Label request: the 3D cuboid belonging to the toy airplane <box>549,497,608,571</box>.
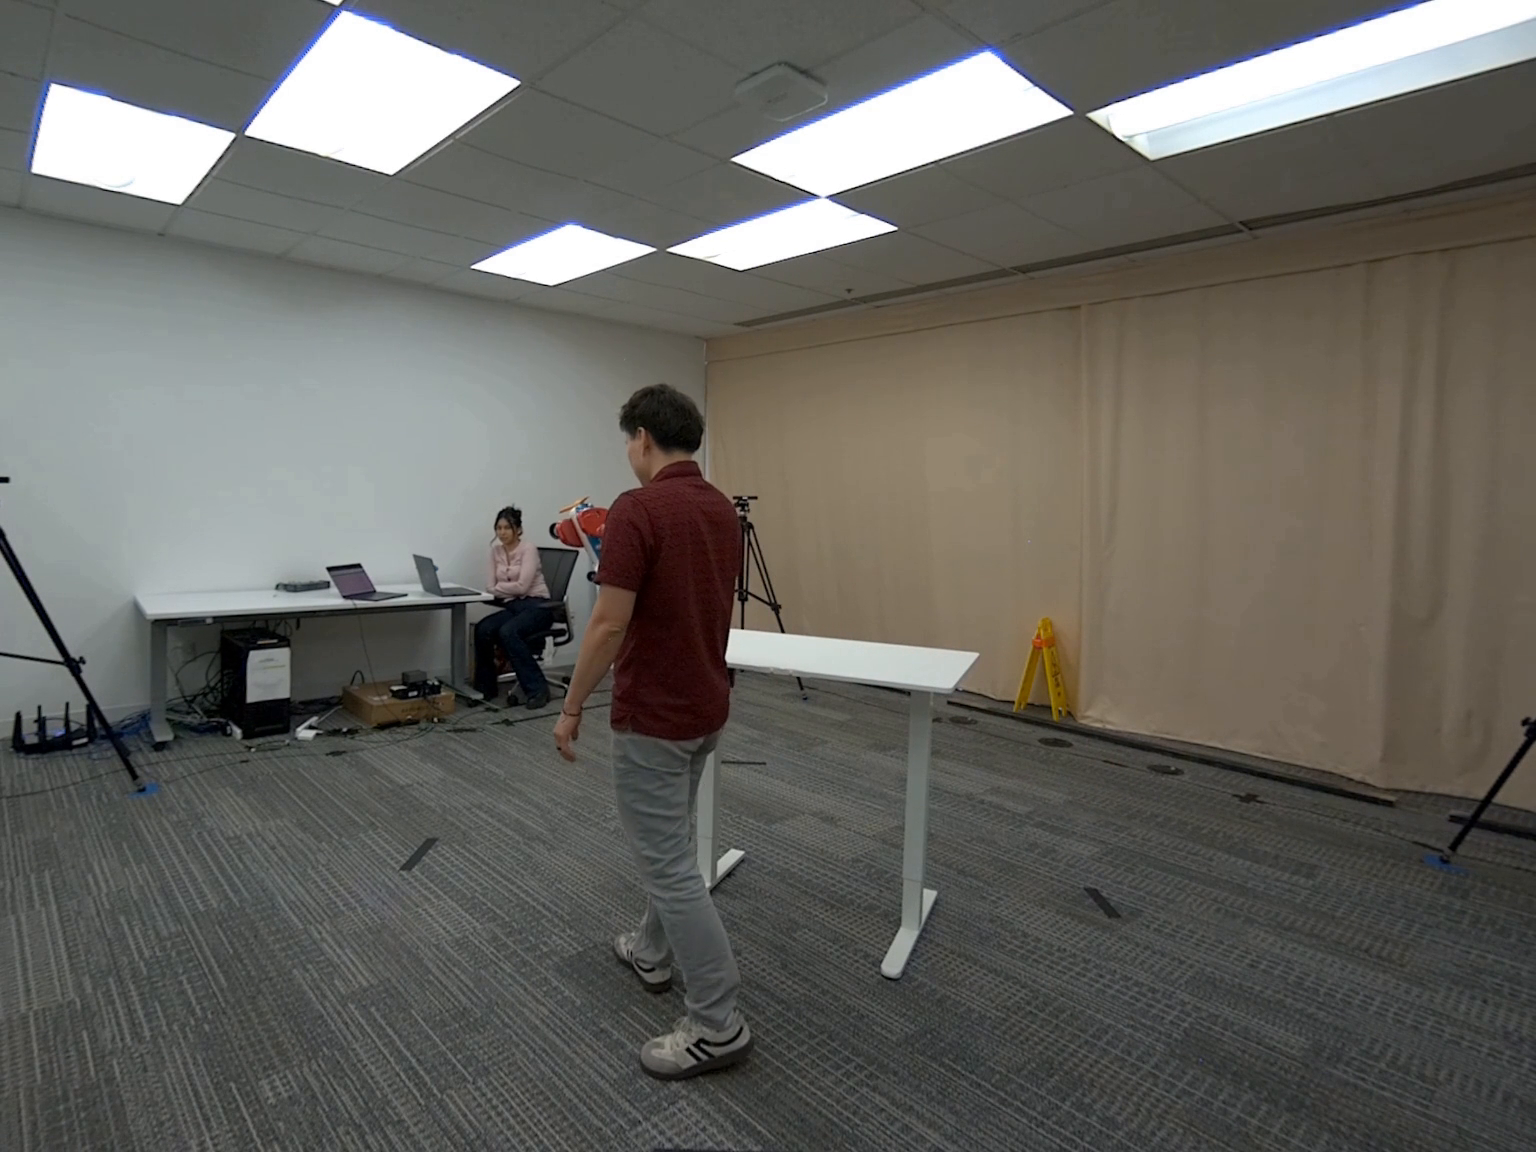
[{"bbox_3d":[-0.550,-0.116,2.641,0.157,0.254,0.255,-40,20,13],"label":"toy airplane"}]
